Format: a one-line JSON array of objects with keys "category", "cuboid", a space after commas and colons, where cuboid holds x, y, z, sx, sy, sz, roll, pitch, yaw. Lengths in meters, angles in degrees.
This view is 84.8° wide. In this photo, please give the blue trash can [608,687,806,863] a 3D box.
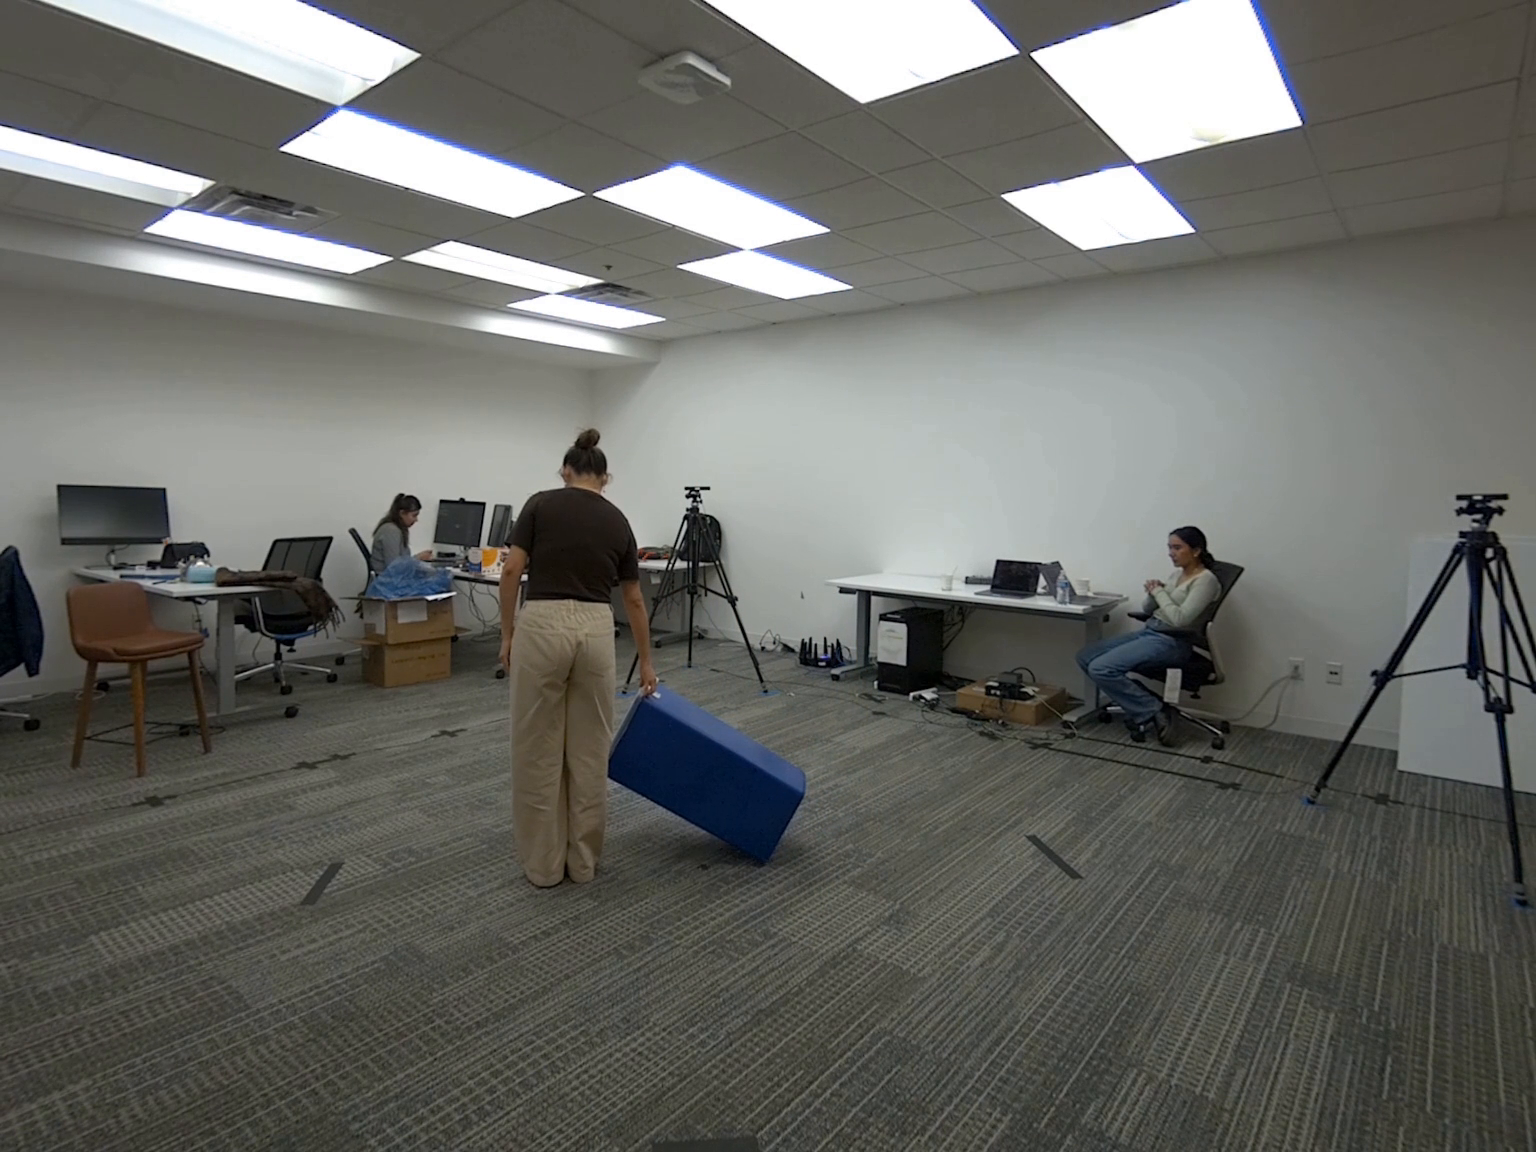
[{"category": "blue trash can", "cuboid": [-0.254, 0.747, 3.294, 0.719, 0.374, 0.376, 29, 3, 4]}]
